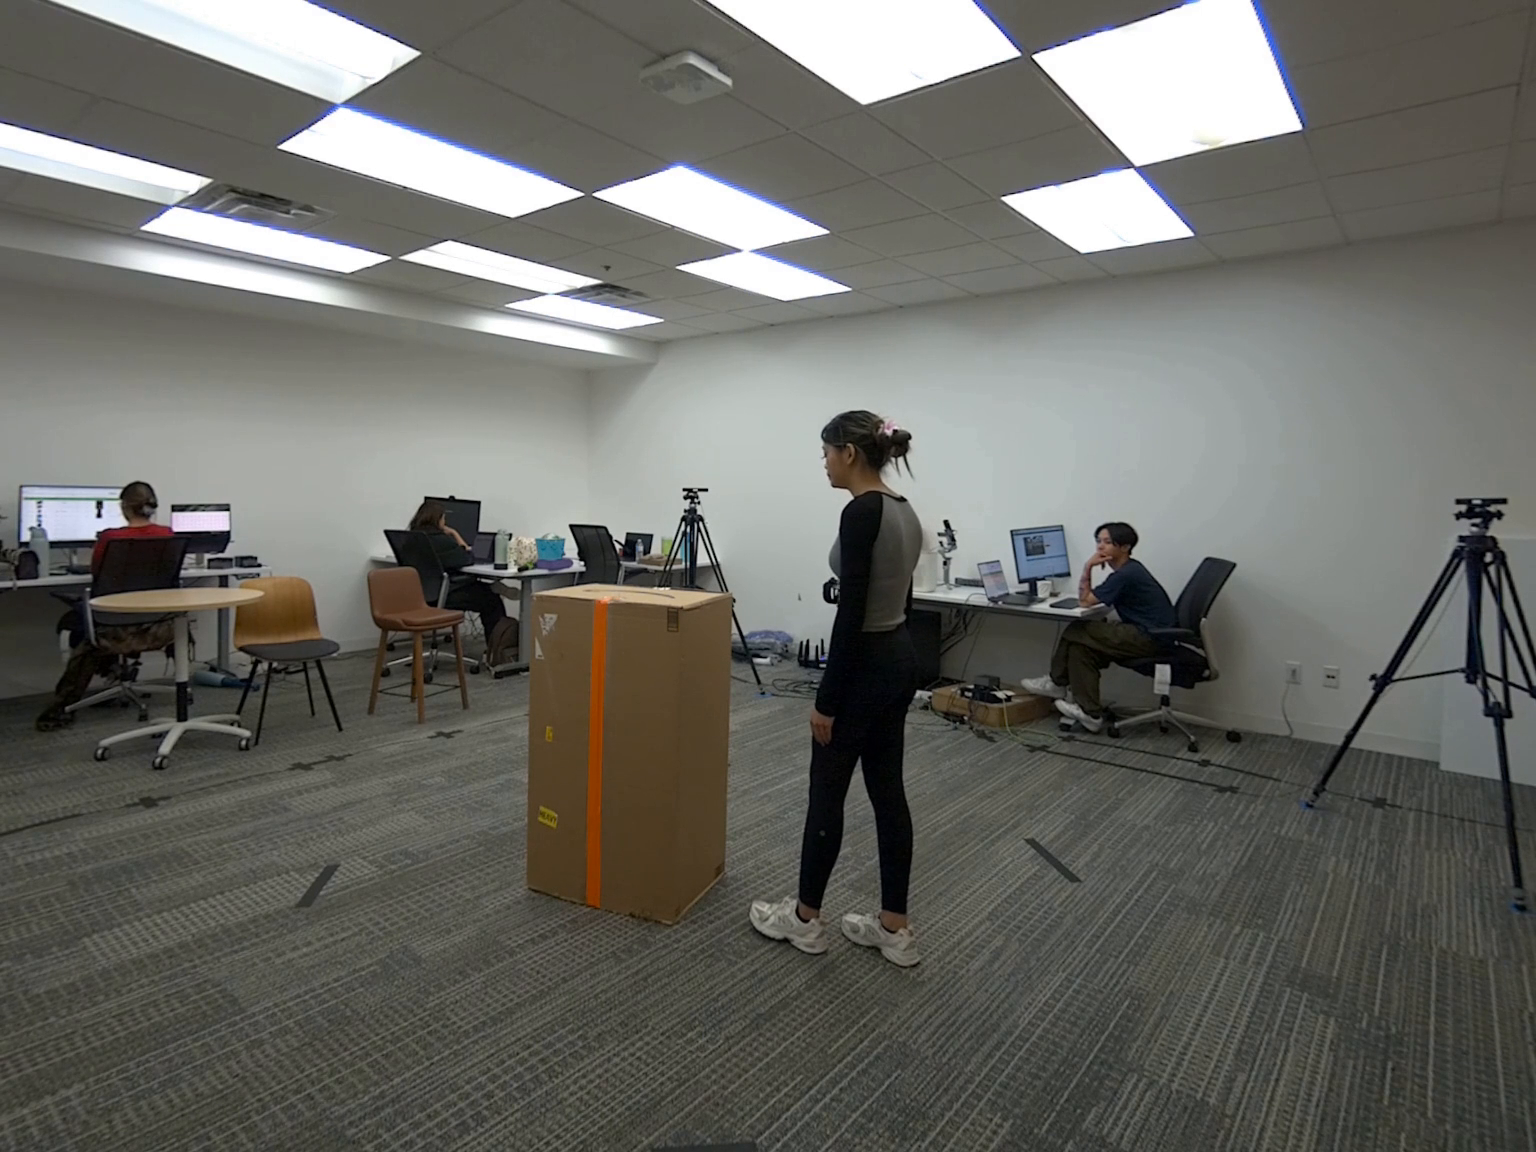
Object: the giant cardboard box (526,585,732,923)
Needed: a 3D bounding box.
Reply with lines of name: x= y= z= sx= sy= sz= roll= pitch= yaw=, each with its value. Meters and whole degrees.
giant cardboard box: x=-0.491 y=0.571 z=2.976 sx=0.598 sy=1.025 sz=0.437 roll=3 pitch=3 yaw=22
